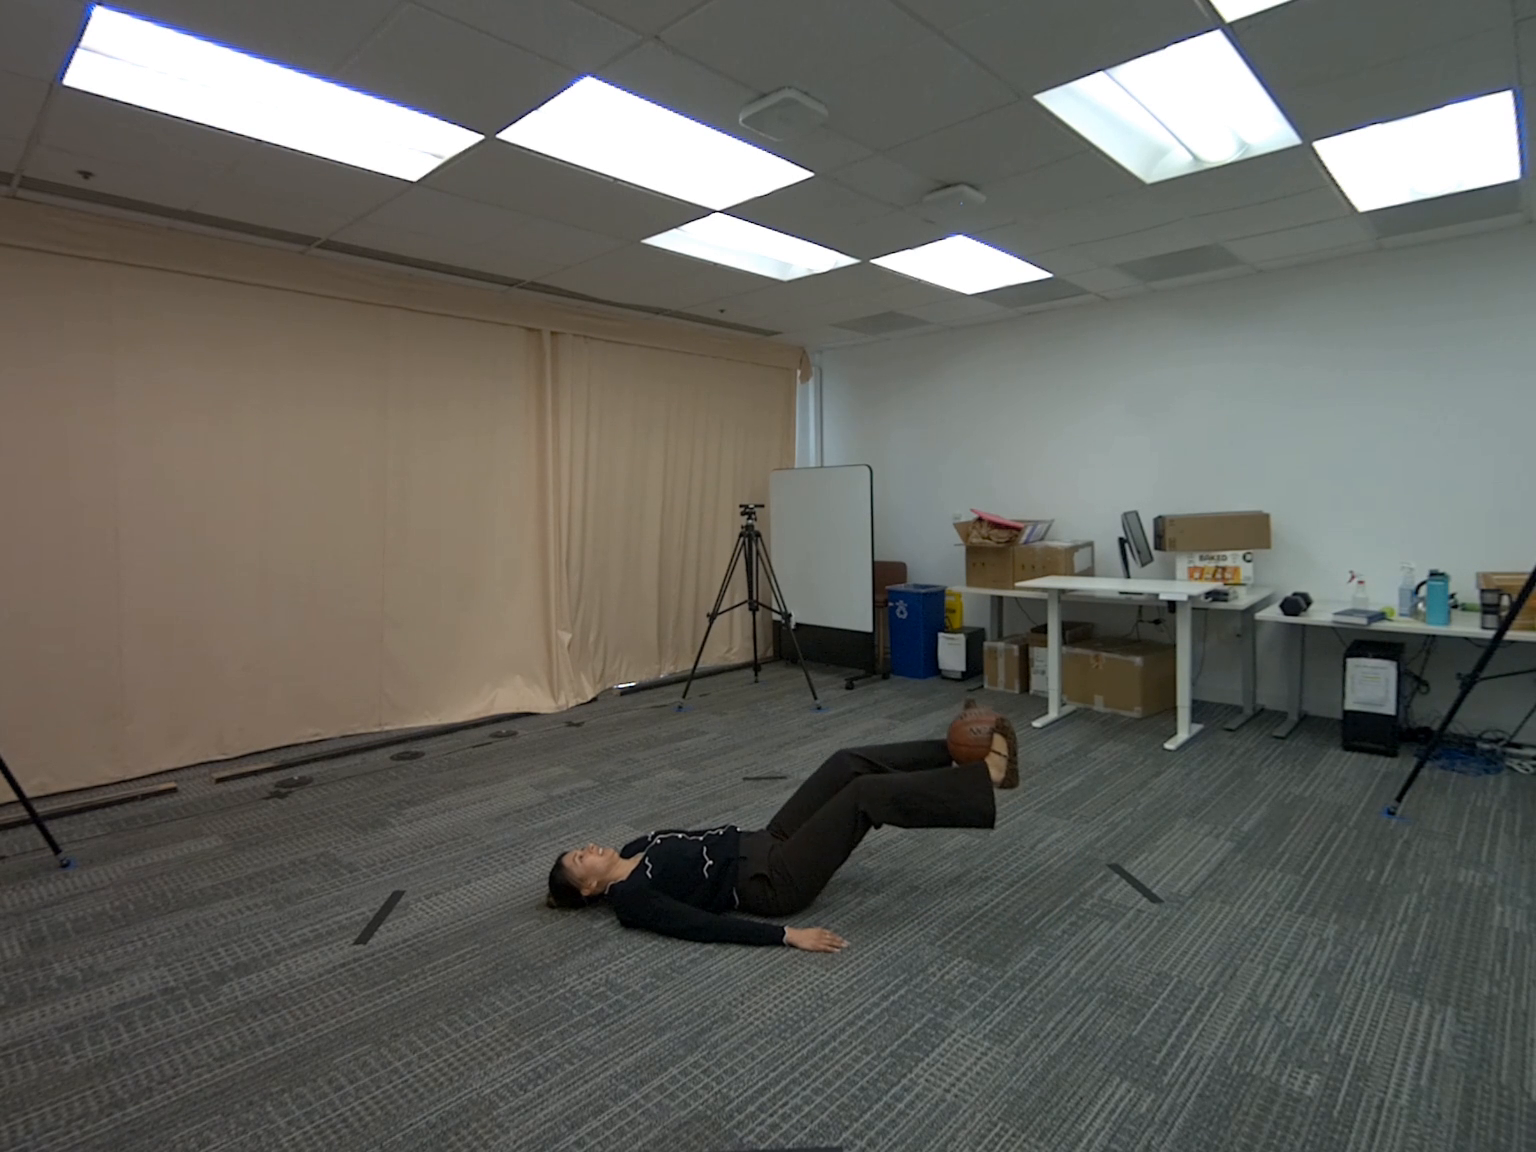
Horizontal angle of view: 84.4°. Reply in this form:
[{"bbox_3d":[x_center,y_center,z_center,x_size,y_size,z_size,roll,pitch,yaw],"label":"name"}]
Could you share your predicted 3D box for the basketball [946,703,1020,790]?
[{"bbox_3d":[0.755,0.595,2.996,0.236,0.236,0.236,0,1,-2],"label":"basketball"}]
